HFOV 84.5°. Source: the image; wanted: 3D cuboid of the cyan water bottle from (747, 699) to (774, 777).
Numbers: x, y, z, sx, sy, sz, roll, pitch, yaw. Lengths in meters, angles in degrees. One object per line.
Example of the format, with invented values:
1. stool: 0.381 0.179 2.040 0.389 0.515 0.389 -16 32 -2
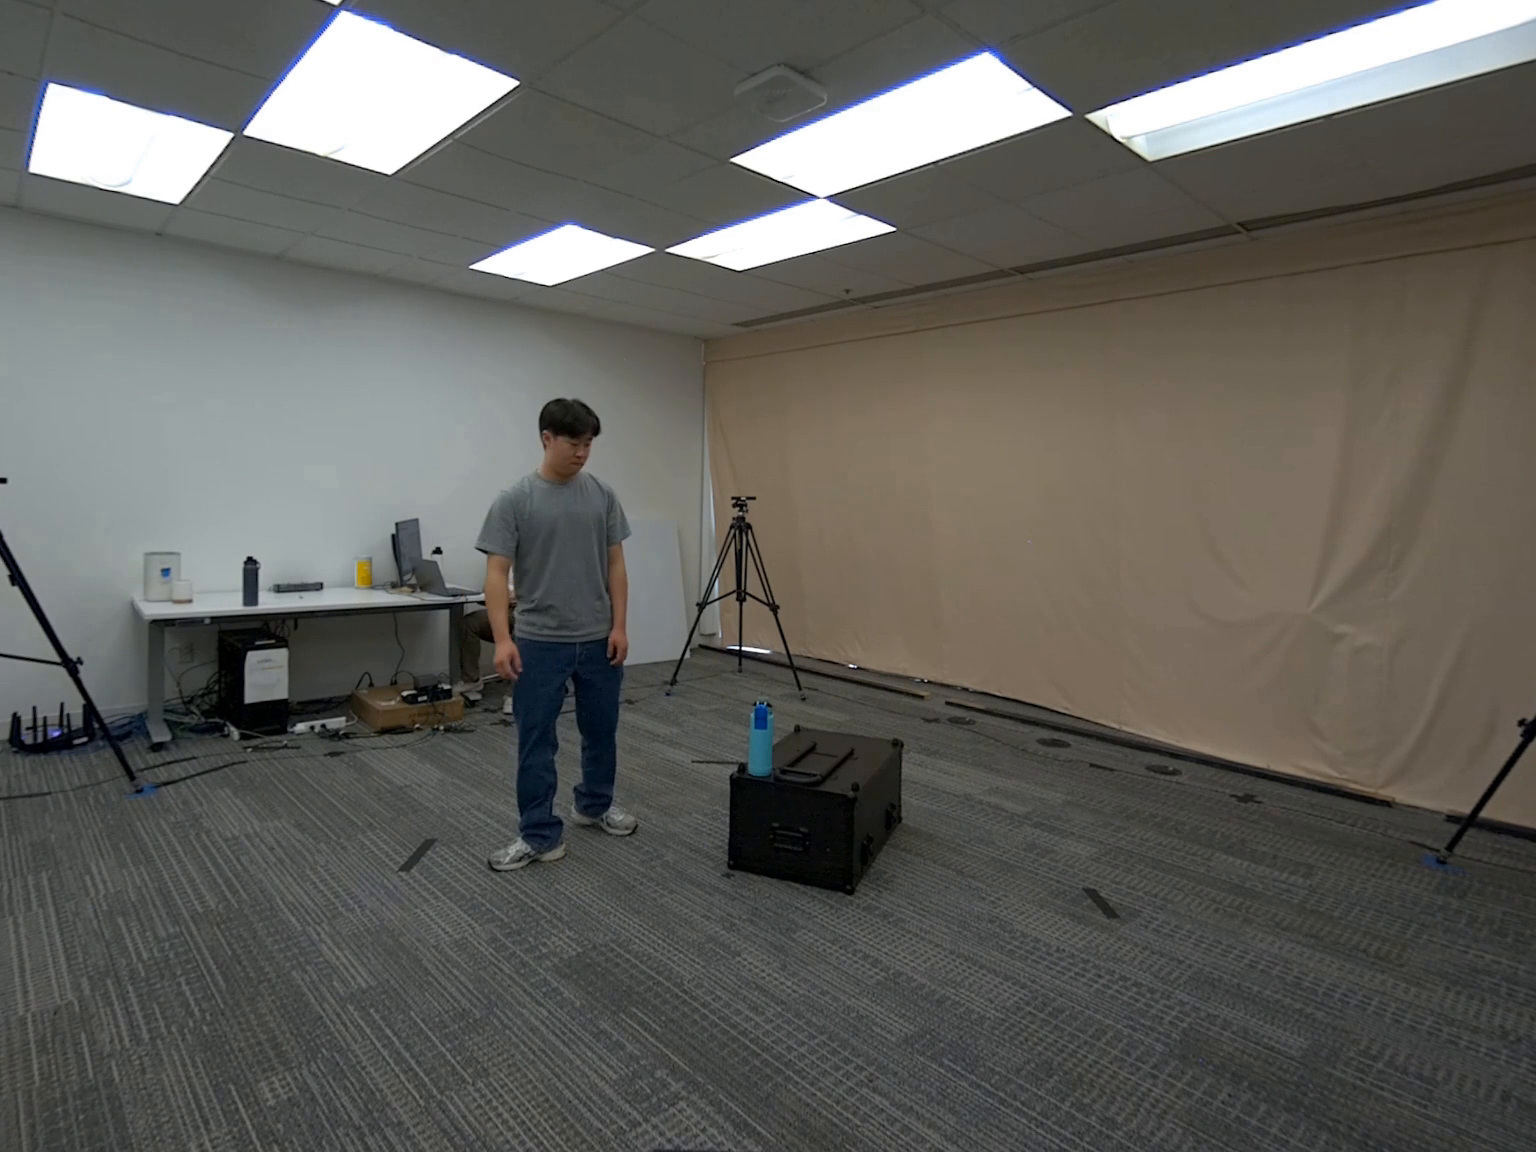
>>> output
1. cyan water bottle: -0.038 0.603 3.170 0.092 0.283 0.092 2 3 -2
